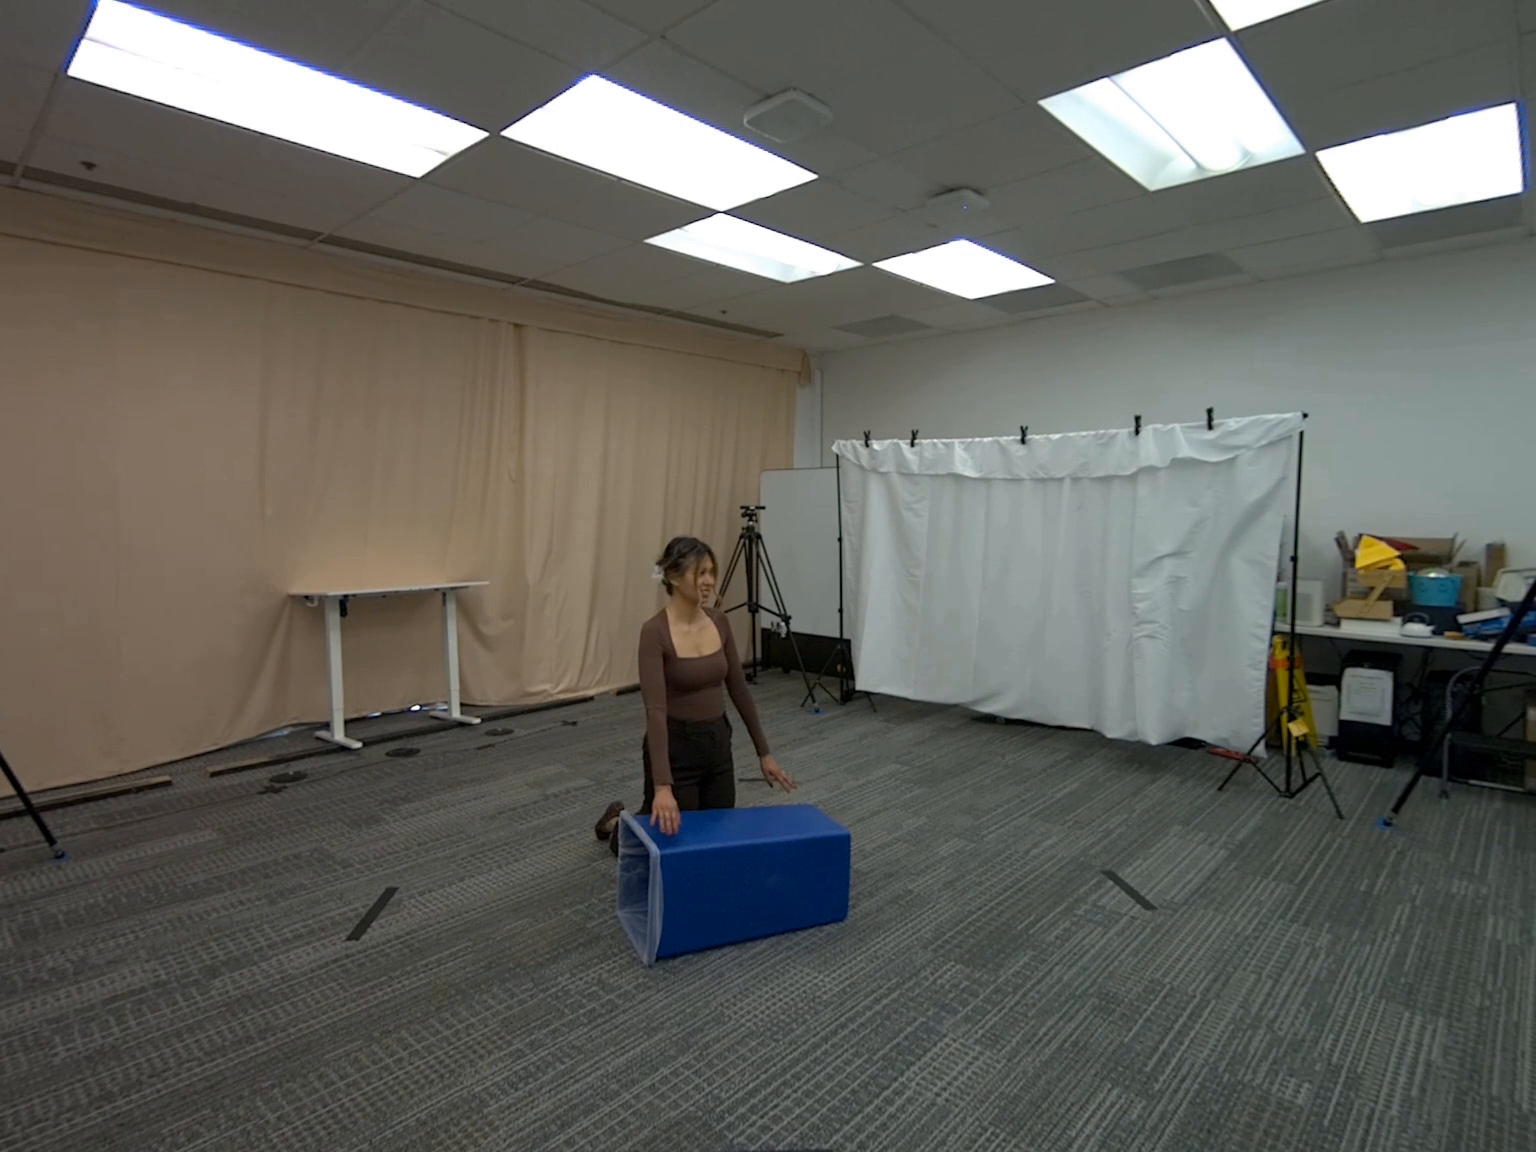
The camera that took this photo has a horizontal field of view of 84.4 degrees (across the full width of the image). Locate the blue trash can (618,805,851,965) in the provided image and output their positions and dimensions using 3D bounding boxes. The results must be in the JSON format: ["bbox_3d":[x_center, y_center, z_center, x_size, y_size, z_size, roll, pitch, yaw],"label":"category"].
[{"bbox_3d":[-0.108,0.983,2.816,0.698,0.377,0.383,0,2,-22],"label":"blue trash can"}]
